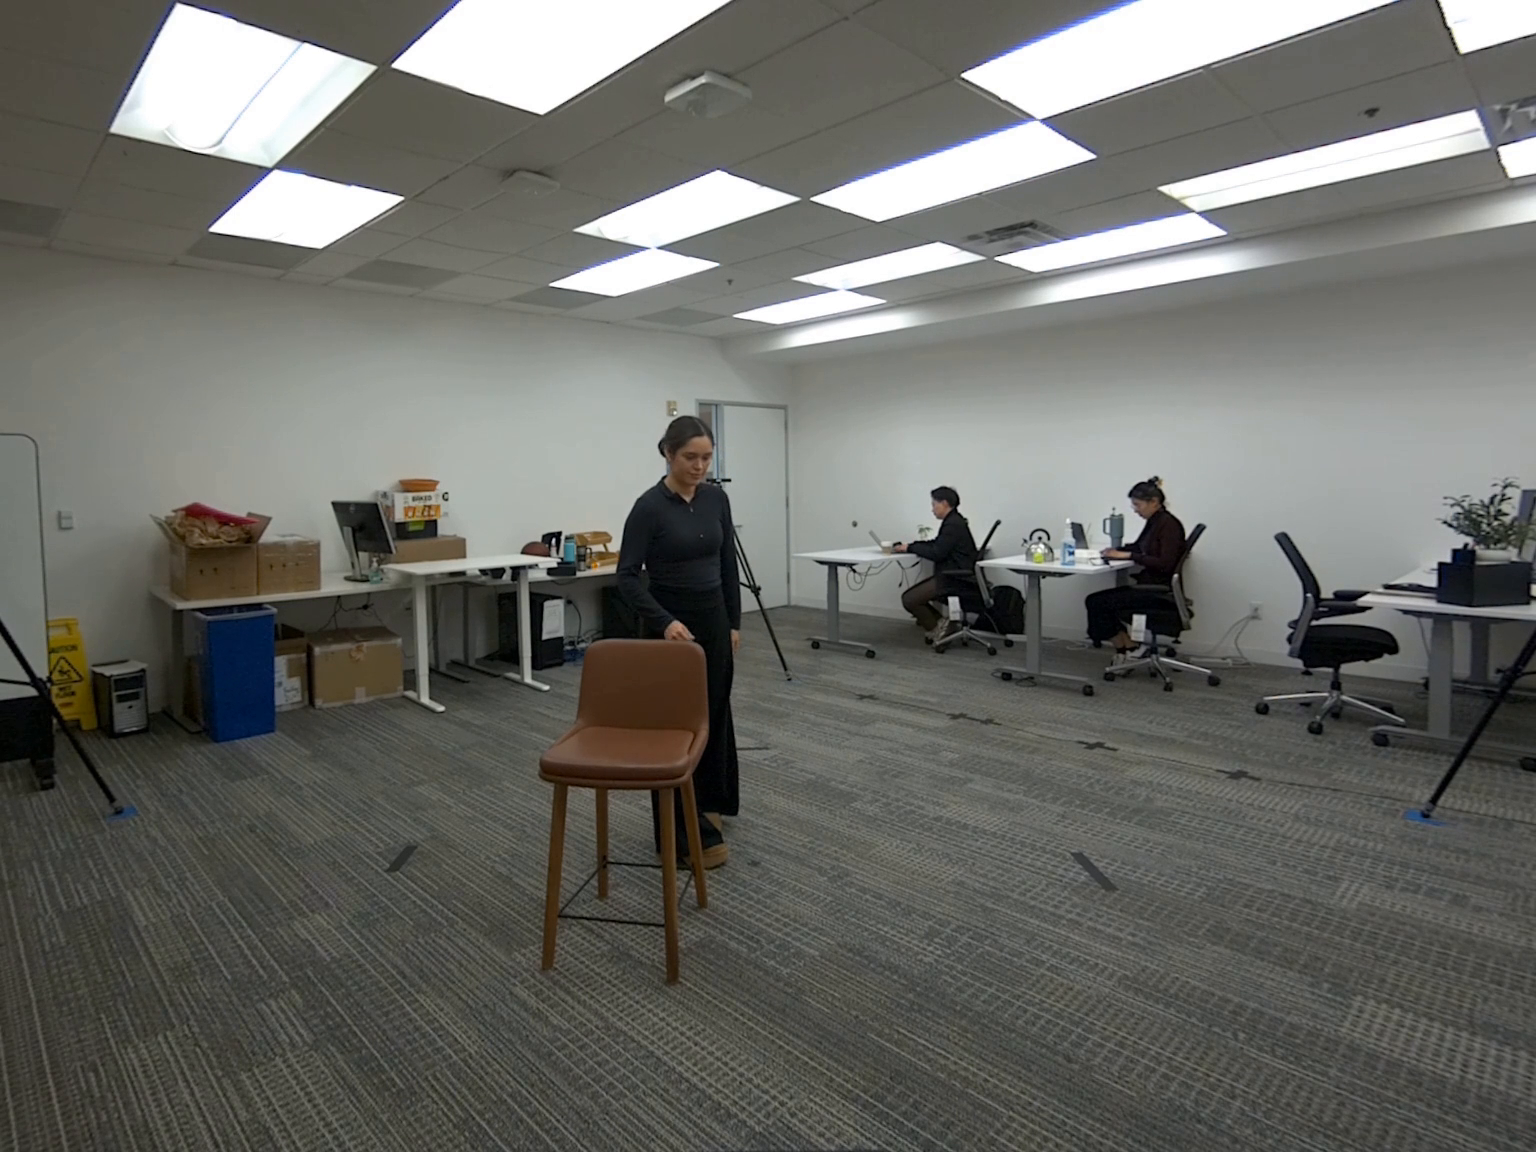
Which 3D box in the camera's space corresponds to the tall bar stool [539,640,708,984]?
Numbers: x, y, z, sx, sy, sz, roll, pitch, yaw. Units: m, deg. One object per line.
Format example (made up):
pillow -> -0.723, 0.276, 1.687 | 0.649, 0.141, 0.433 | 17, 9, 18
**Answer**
tall bar stool -> -0.423, 0.674, 2.609 | 0.462, 0.888, 0.463 | 0, 3, 12
